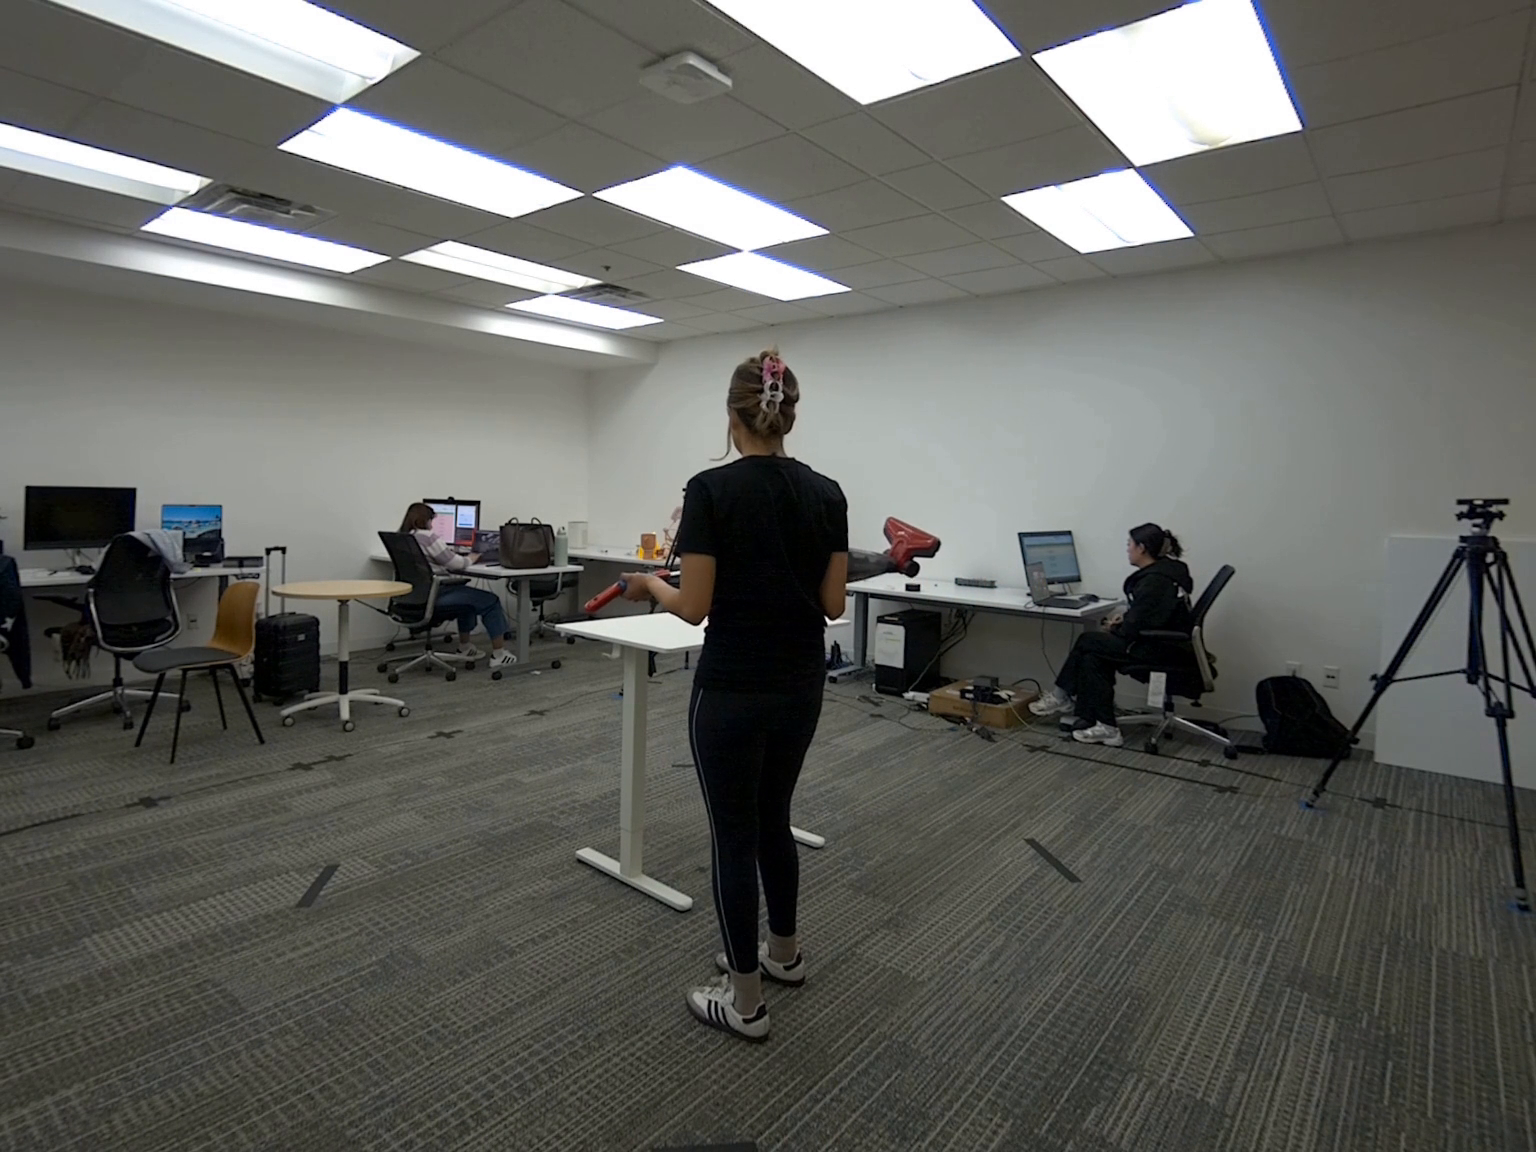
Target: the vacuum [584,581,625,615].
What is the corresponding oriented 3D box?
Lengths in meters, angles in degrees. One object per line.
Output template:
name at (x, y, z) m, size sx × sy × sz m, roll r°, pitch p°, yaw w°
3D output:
vacuum at (-0.016, -0.005, 2.467) m, size 1.029 × 0.141 × 0.262 m, roll -10°, pitch 24°, yaw -24°
